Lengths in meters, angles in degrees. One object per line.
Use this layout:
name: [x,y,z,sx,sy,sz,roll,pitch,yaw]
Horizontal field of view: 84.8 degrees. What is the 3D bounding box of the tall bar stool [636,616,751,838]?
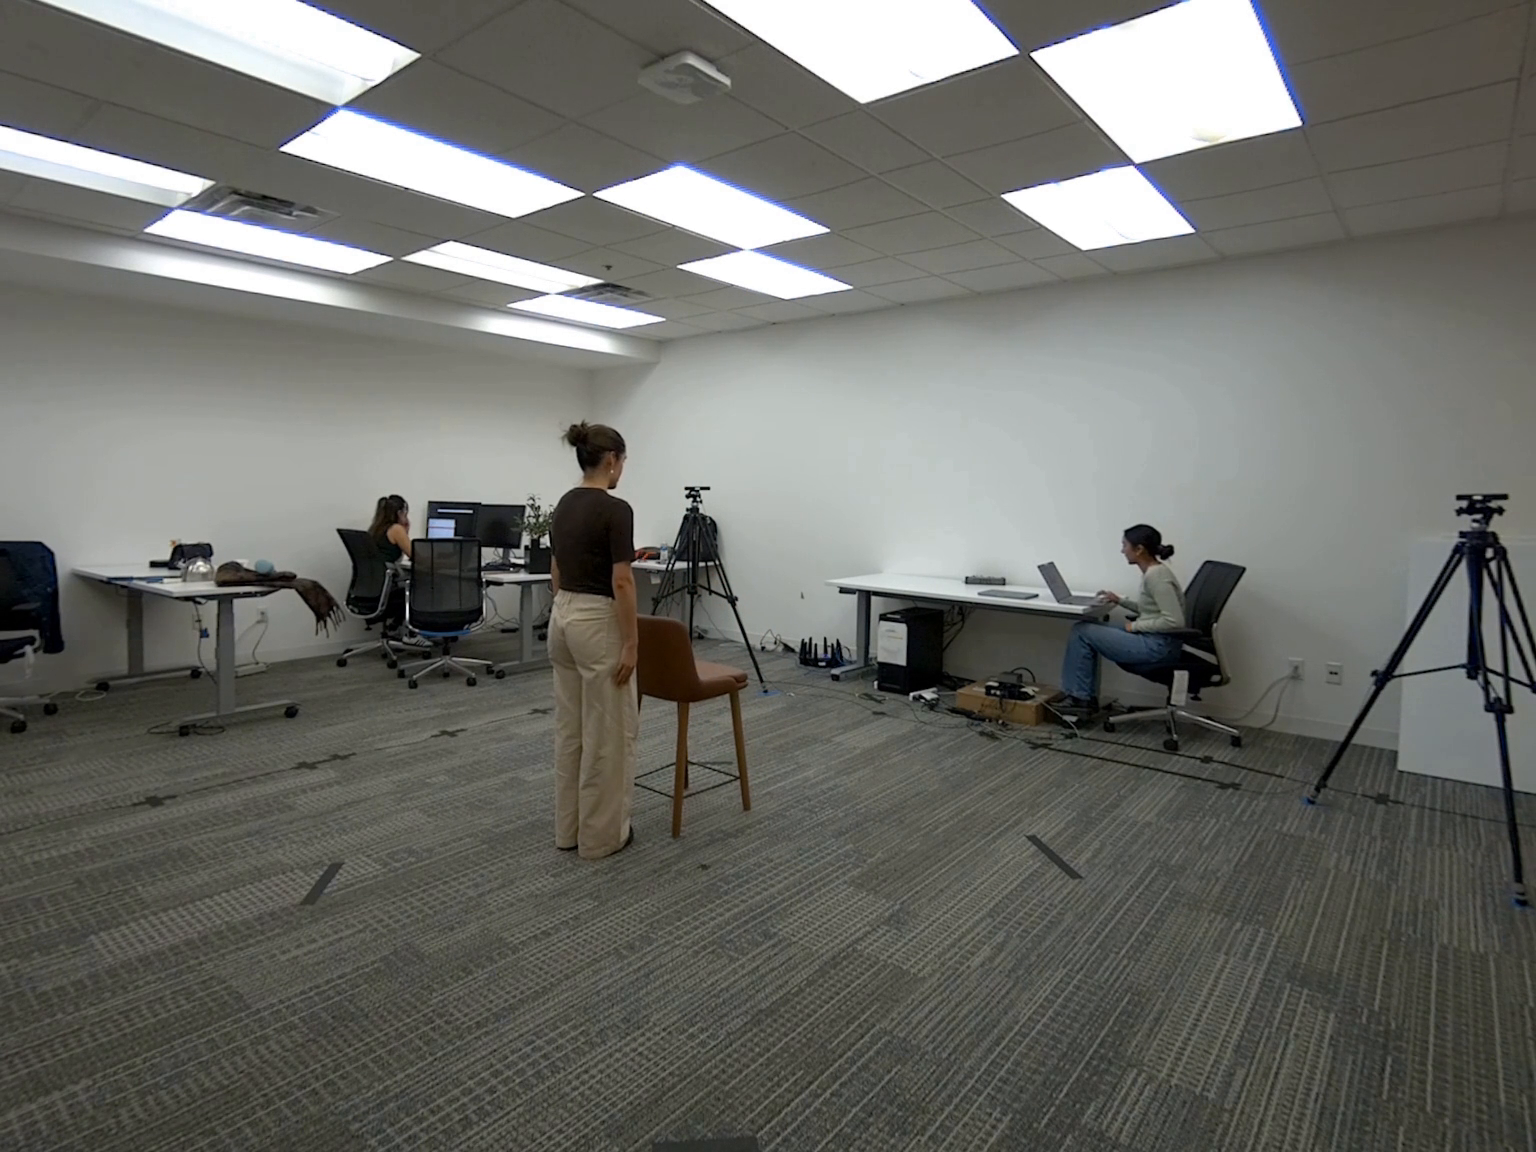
tall bar stool: [-0.383,0.573,3.630,0.471,0.886,0.454,2,5,41]
